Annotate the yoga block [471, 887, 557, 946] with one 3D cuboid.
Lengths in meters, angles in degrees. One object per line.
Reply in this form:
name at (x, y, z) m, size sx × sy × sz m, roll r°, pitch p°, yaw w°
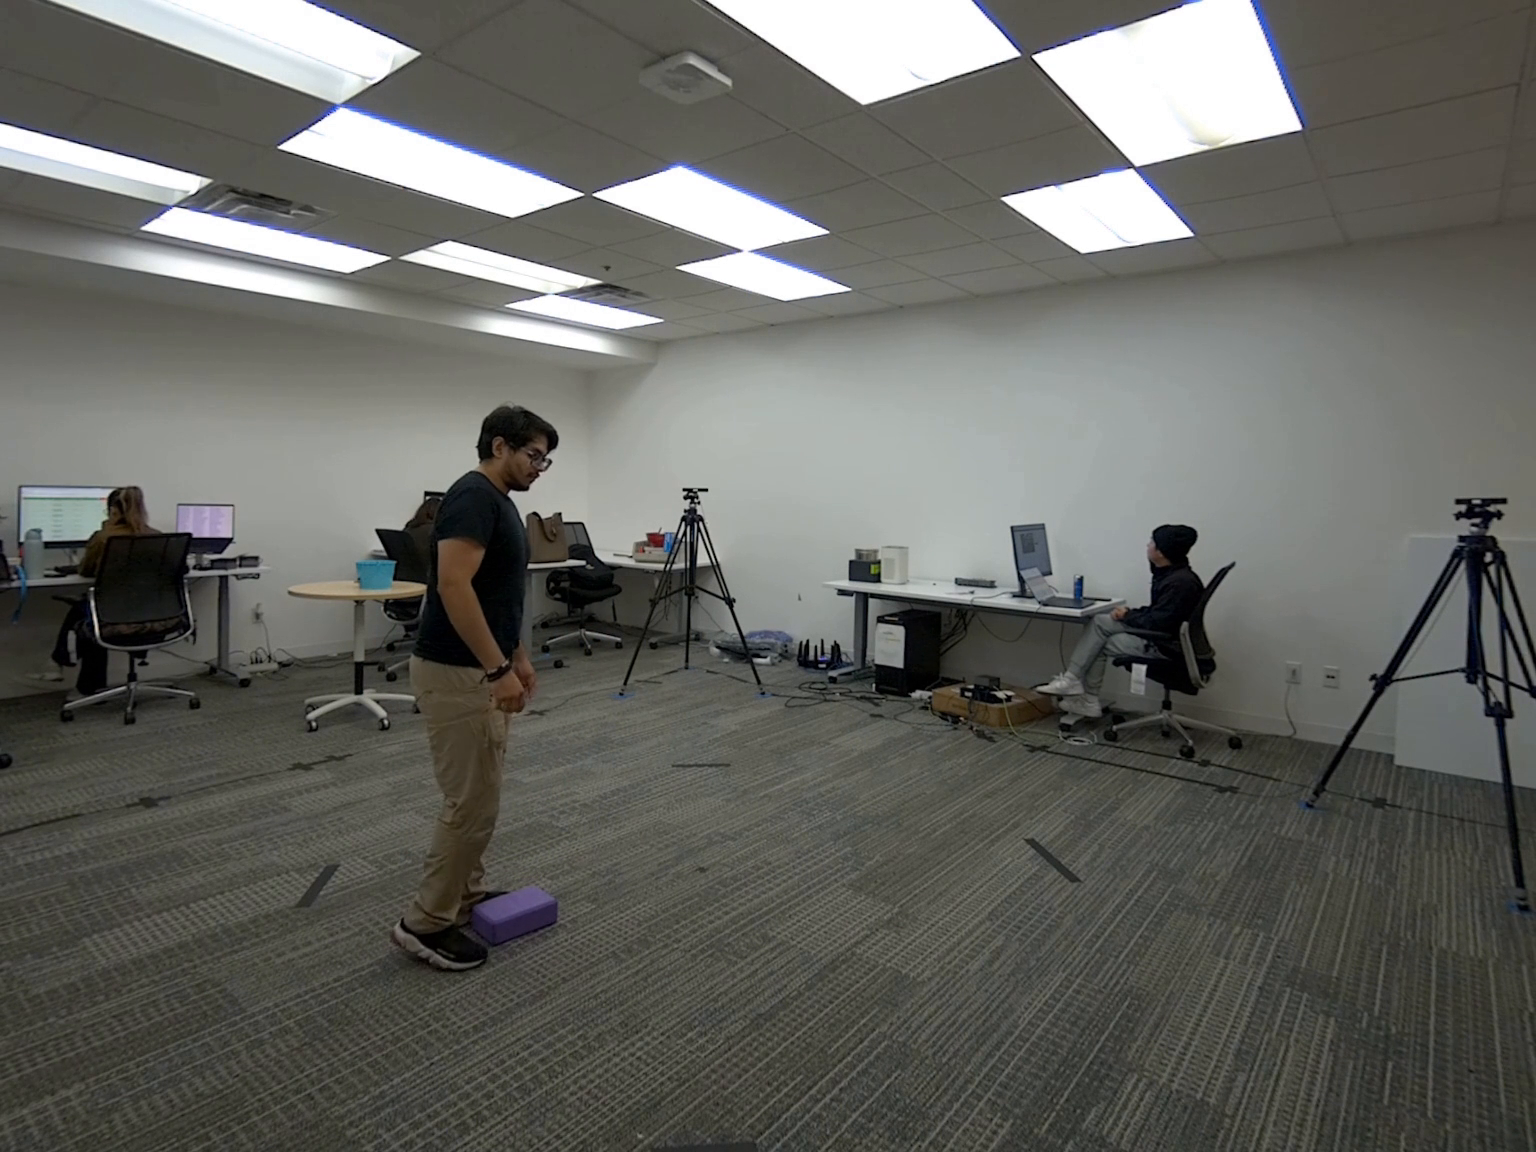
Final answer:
yoga block at (-0.808, 1.065, 2.680) m, size 0.154 × 0.076 × 0.222 m, roll 5°, pitch 6°, yaw 45°
